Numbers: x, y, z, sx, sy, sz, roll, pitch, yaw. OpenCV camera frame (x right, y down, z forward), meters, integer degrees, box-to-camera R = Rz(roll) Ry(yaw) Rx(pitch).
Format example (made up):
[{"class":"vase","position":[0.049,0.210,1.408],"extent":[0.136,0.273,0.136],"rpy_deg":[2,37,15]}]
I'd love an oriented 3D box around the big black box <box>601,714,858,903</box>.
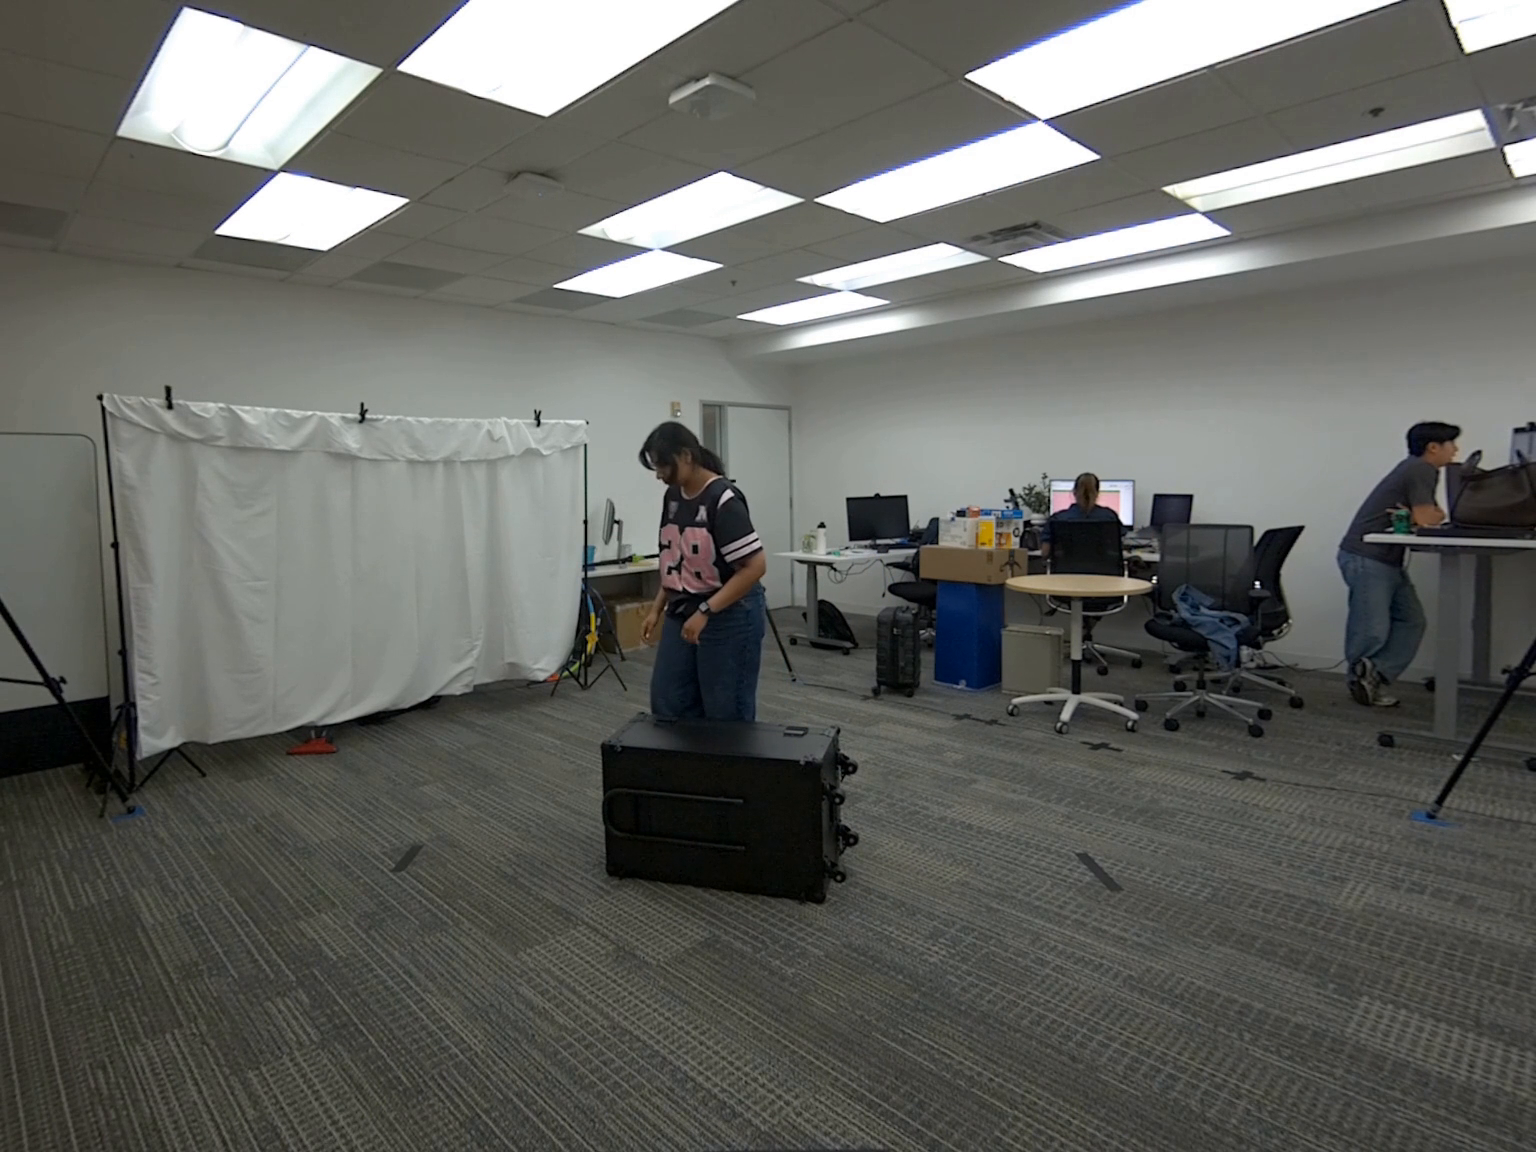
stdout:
[{"class":"big black box","position":[-0.123,0.801,3.044],"extent":[0.883,0.521,0.381],"rpy_deg":[1,5,17]}]
